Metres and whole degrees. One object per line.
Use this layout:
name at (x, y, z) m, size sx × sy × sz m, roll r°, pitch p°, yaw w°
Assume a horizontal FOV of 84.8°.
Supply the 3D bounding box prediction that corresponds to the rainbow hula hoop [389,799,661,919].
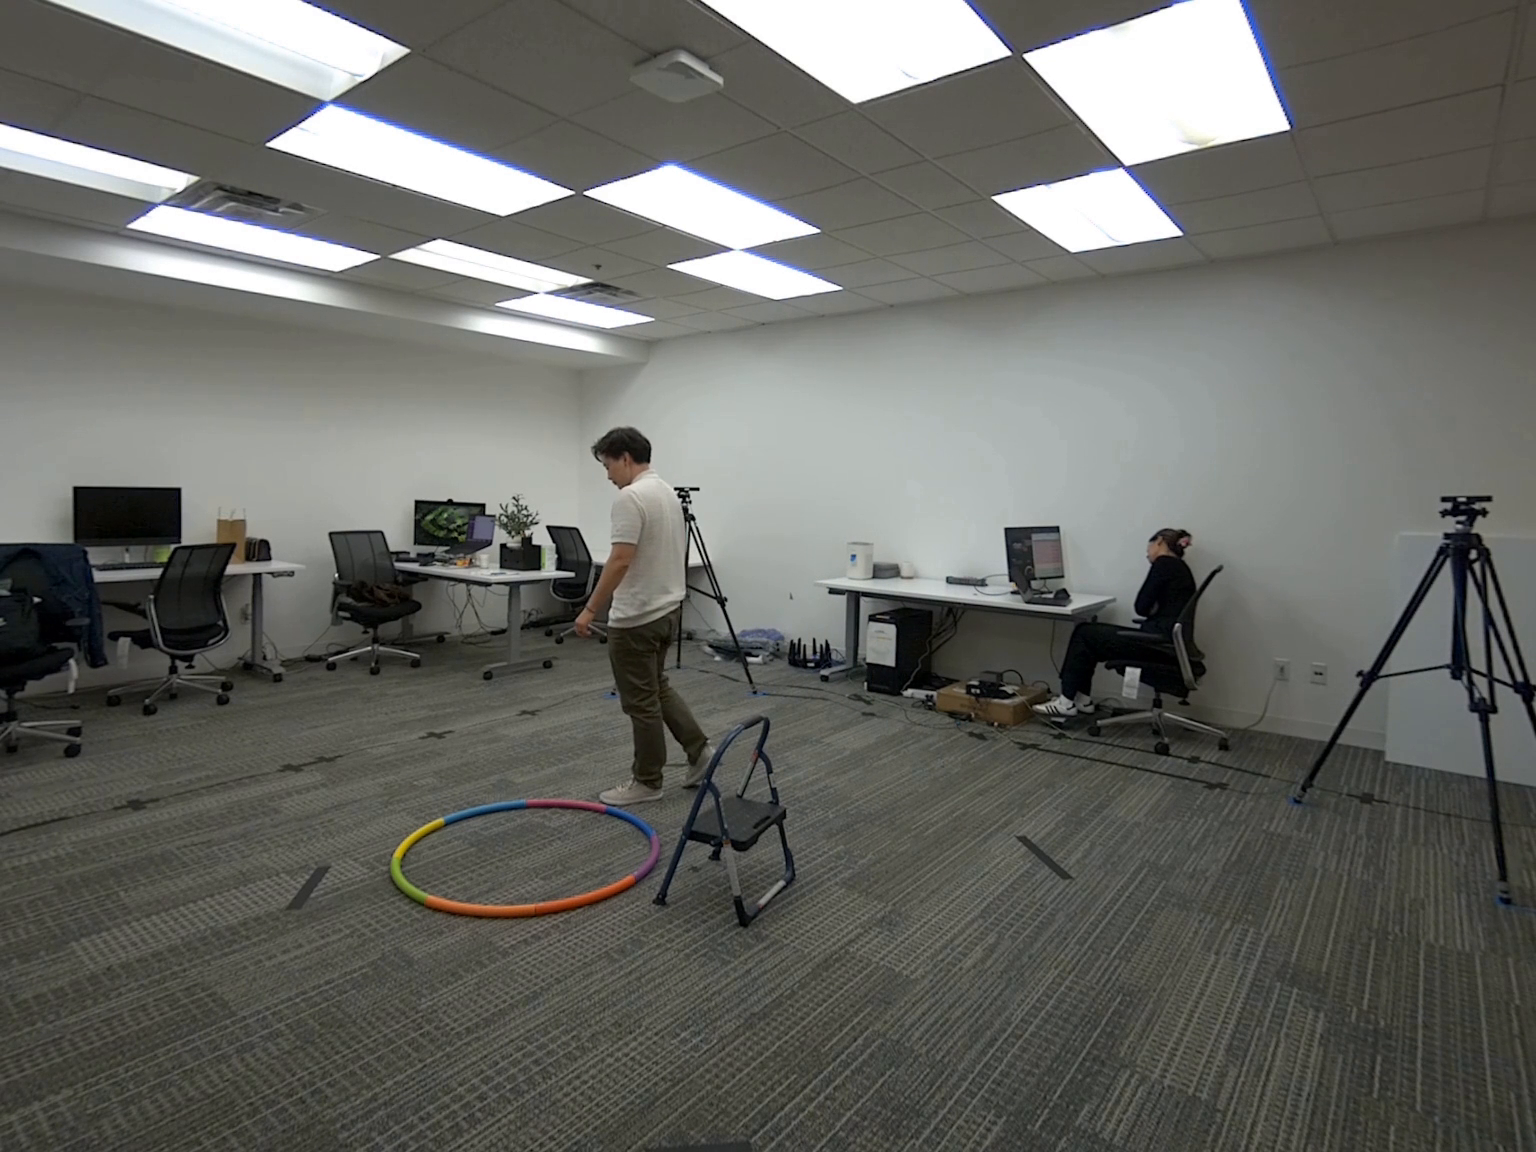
rainbow hula hoop at (-0.907, 1.013, 3.211) m, size 0.978 × 0.035 × 0.984 m, roll 1°, pitch 6°, yaw -2°
